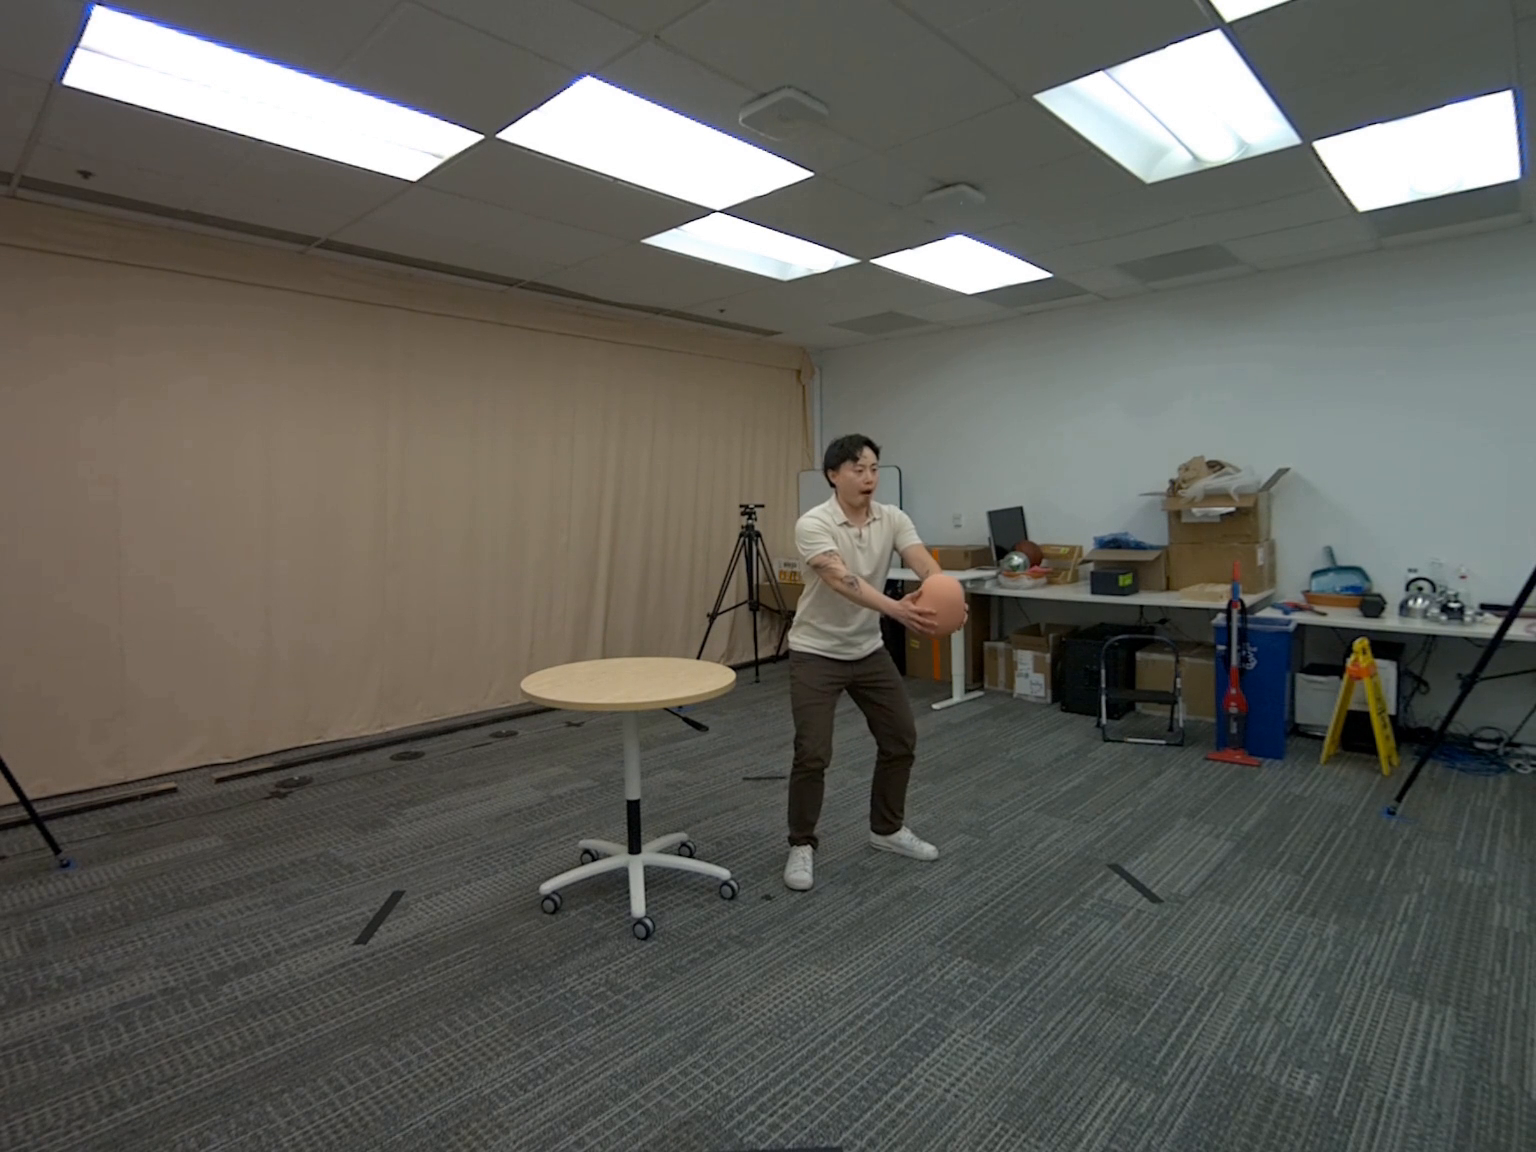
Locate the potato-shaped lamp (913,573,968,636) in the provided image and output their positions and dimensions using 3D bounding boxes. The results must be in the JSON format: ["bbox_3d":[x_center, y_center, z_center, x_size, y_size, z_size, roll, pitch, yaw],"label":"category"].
[{"bbox_3d":[0.549,0.097,2.749,0.161,0.196,0.176,-2,16,-20],"label":"potato-shaped lamp"}]
